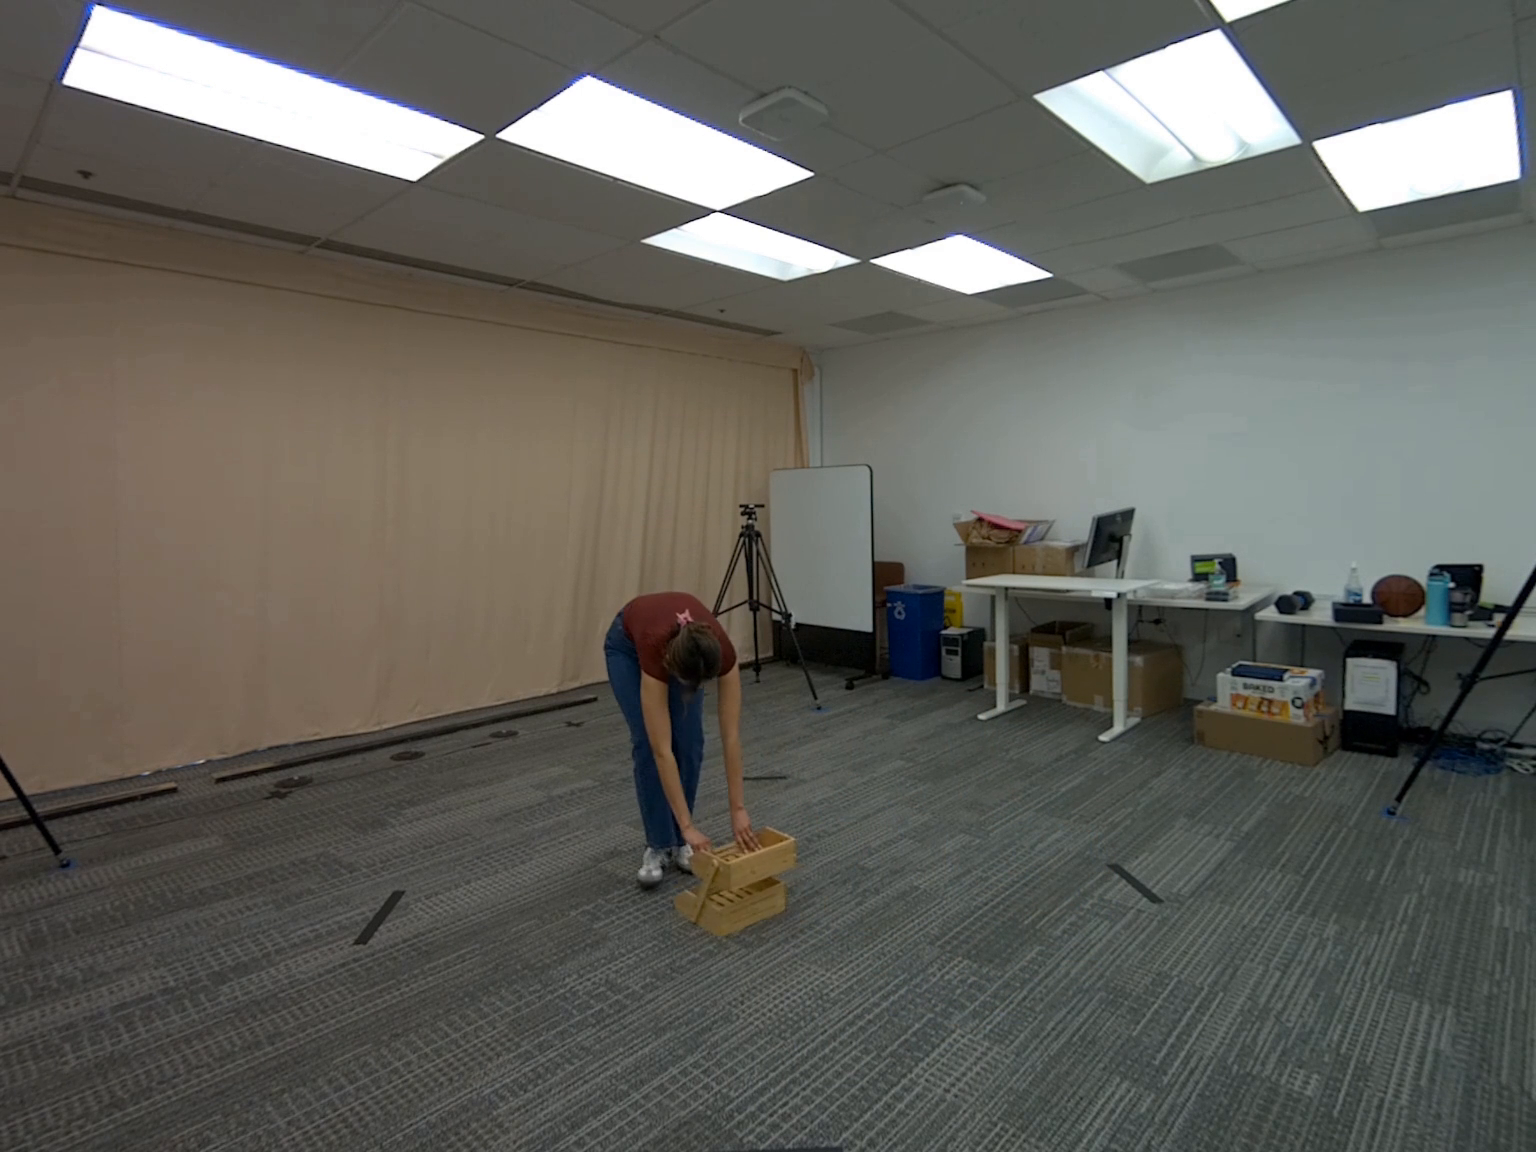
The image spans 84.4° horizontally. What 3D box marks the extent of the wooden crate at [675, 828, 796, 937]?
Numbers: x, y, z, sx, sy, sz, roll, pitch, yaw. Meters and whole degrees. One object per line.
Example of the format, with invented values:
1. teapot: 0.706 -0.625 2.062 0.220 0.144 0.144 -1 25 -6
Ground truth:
1. wooden crate: -0.109 1.016 2.867 0.315 0.272 0.312 -5 6 -41
